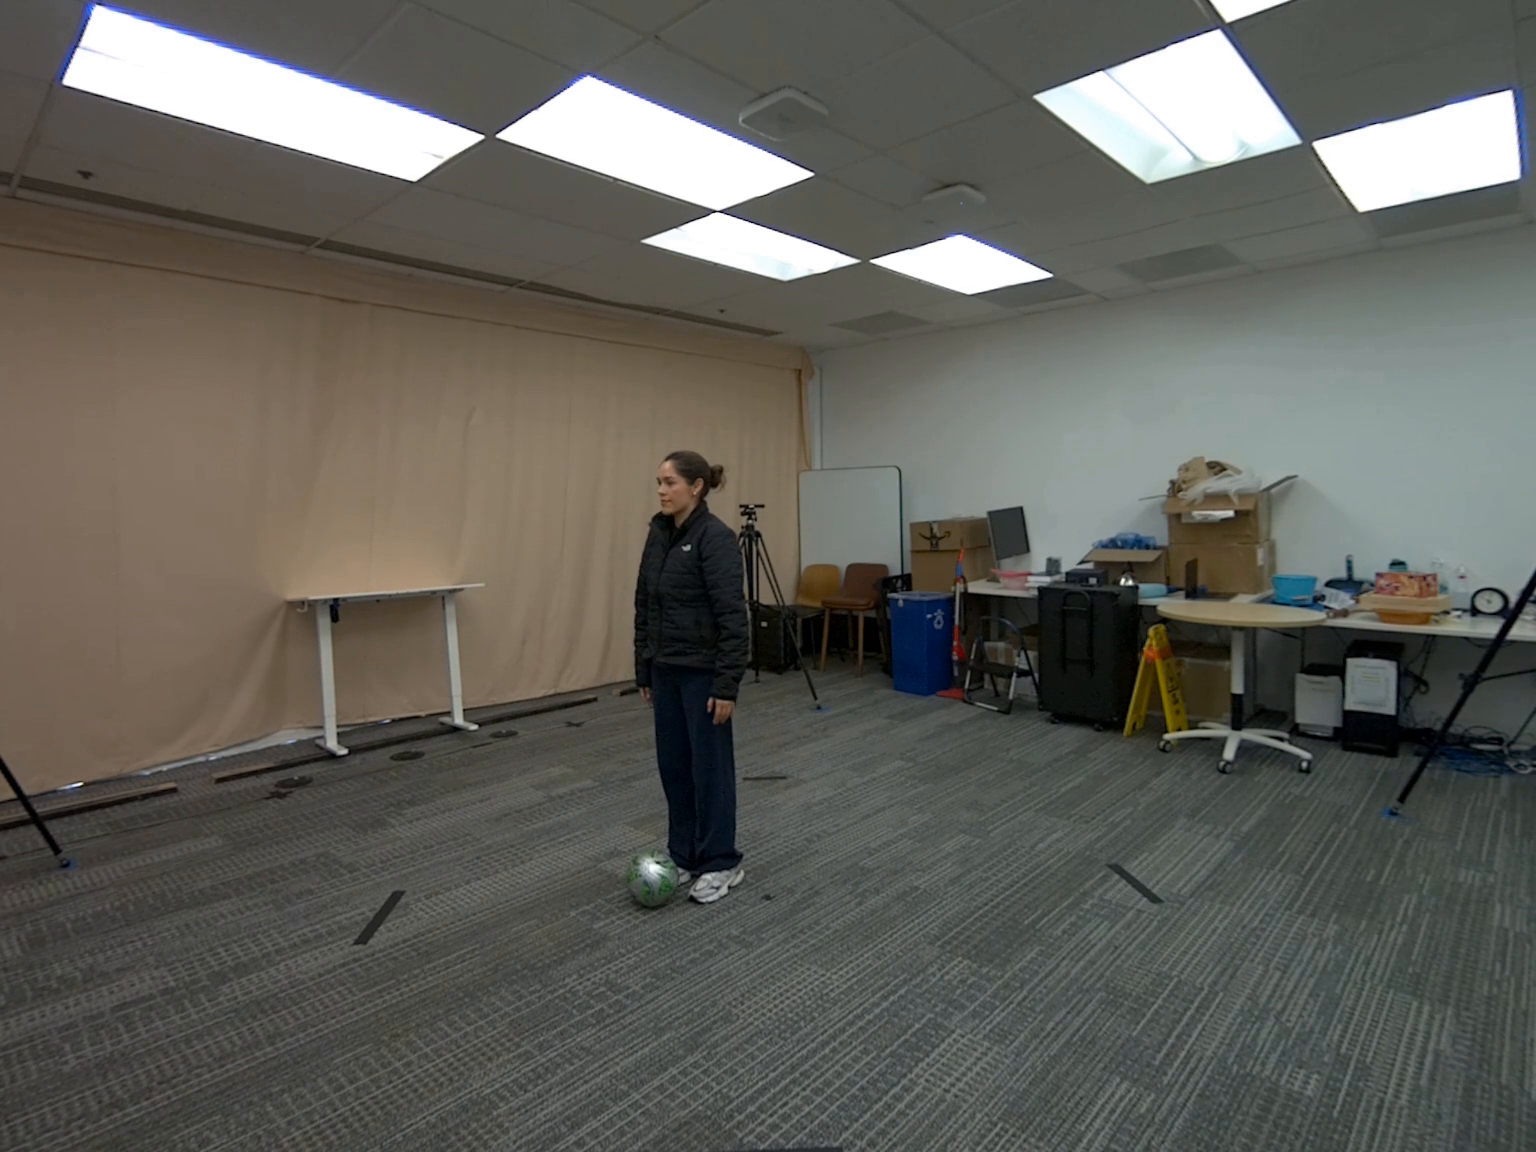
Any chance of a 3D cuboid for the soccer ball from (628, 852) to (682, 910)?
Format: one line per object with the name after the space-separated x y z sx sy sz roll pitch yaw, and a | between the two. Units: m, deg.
-0.411 1.057 2.952 0.187 0.187 0.188 -1 4 -2 | soccer ball
